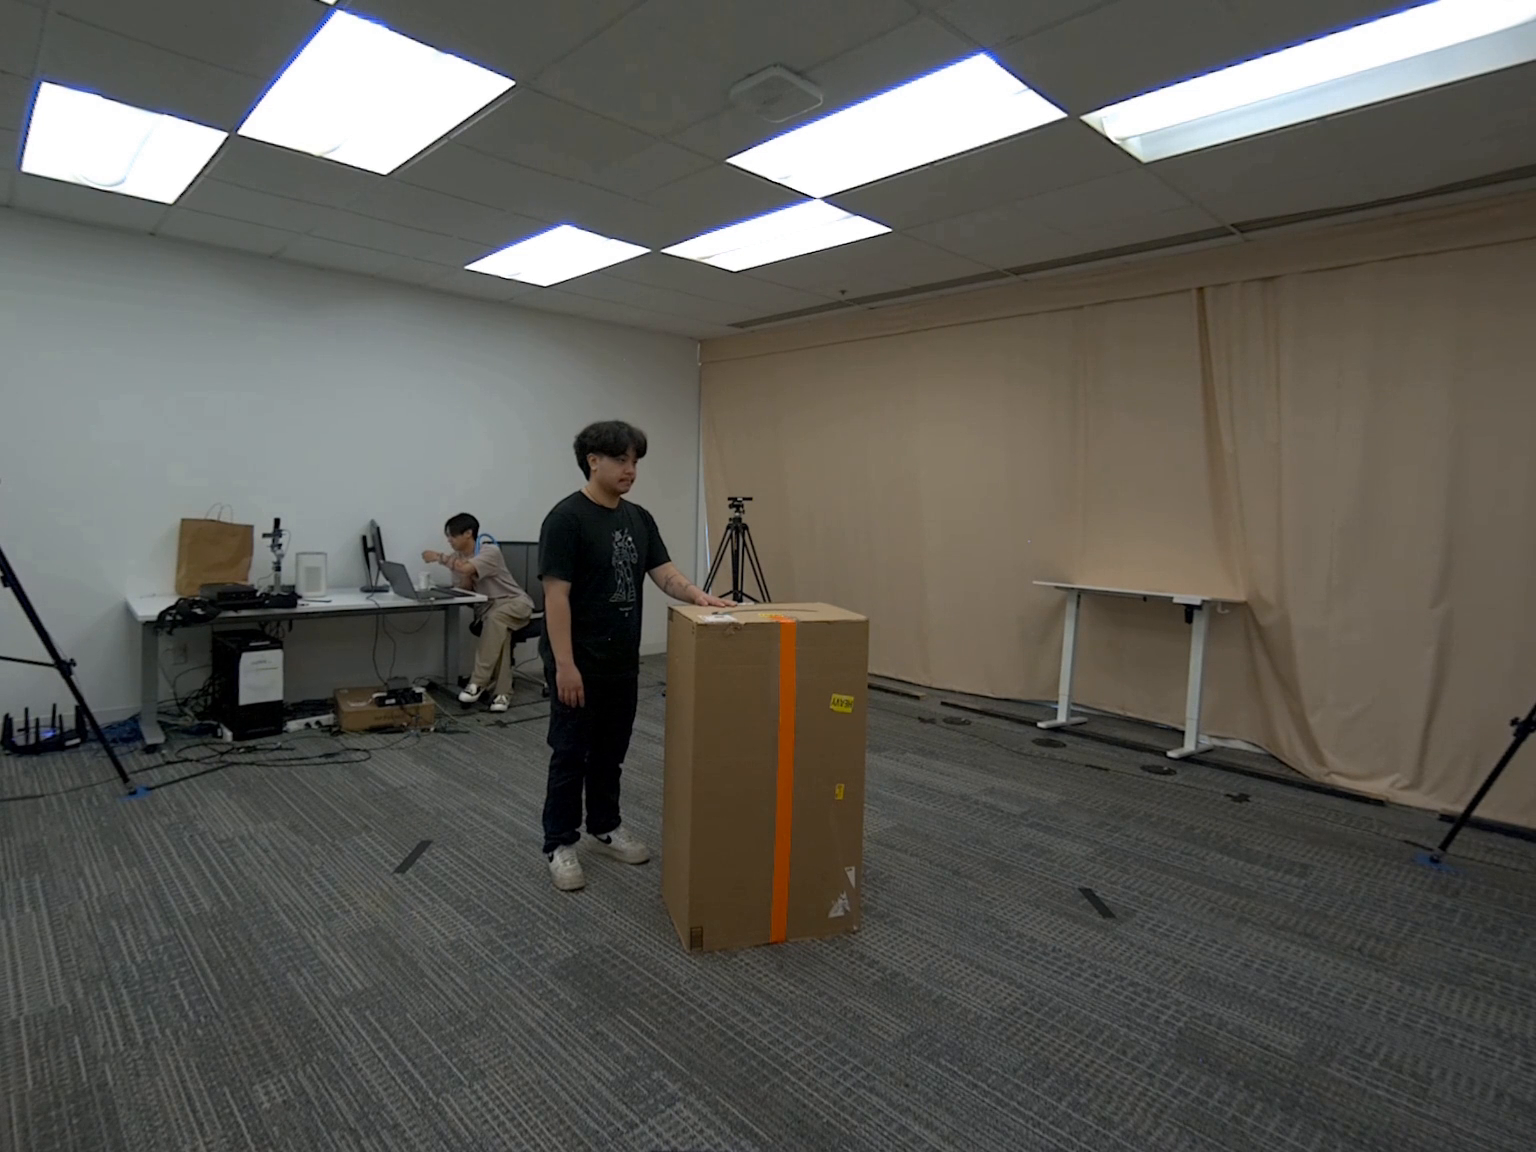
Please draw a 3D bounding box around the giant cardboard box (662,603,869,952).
[{"bbox_3d":[-0.031,0.625,2.813,0.576,1.024,0.454,1,4,-17],"label":"giant cardboard box"}]
